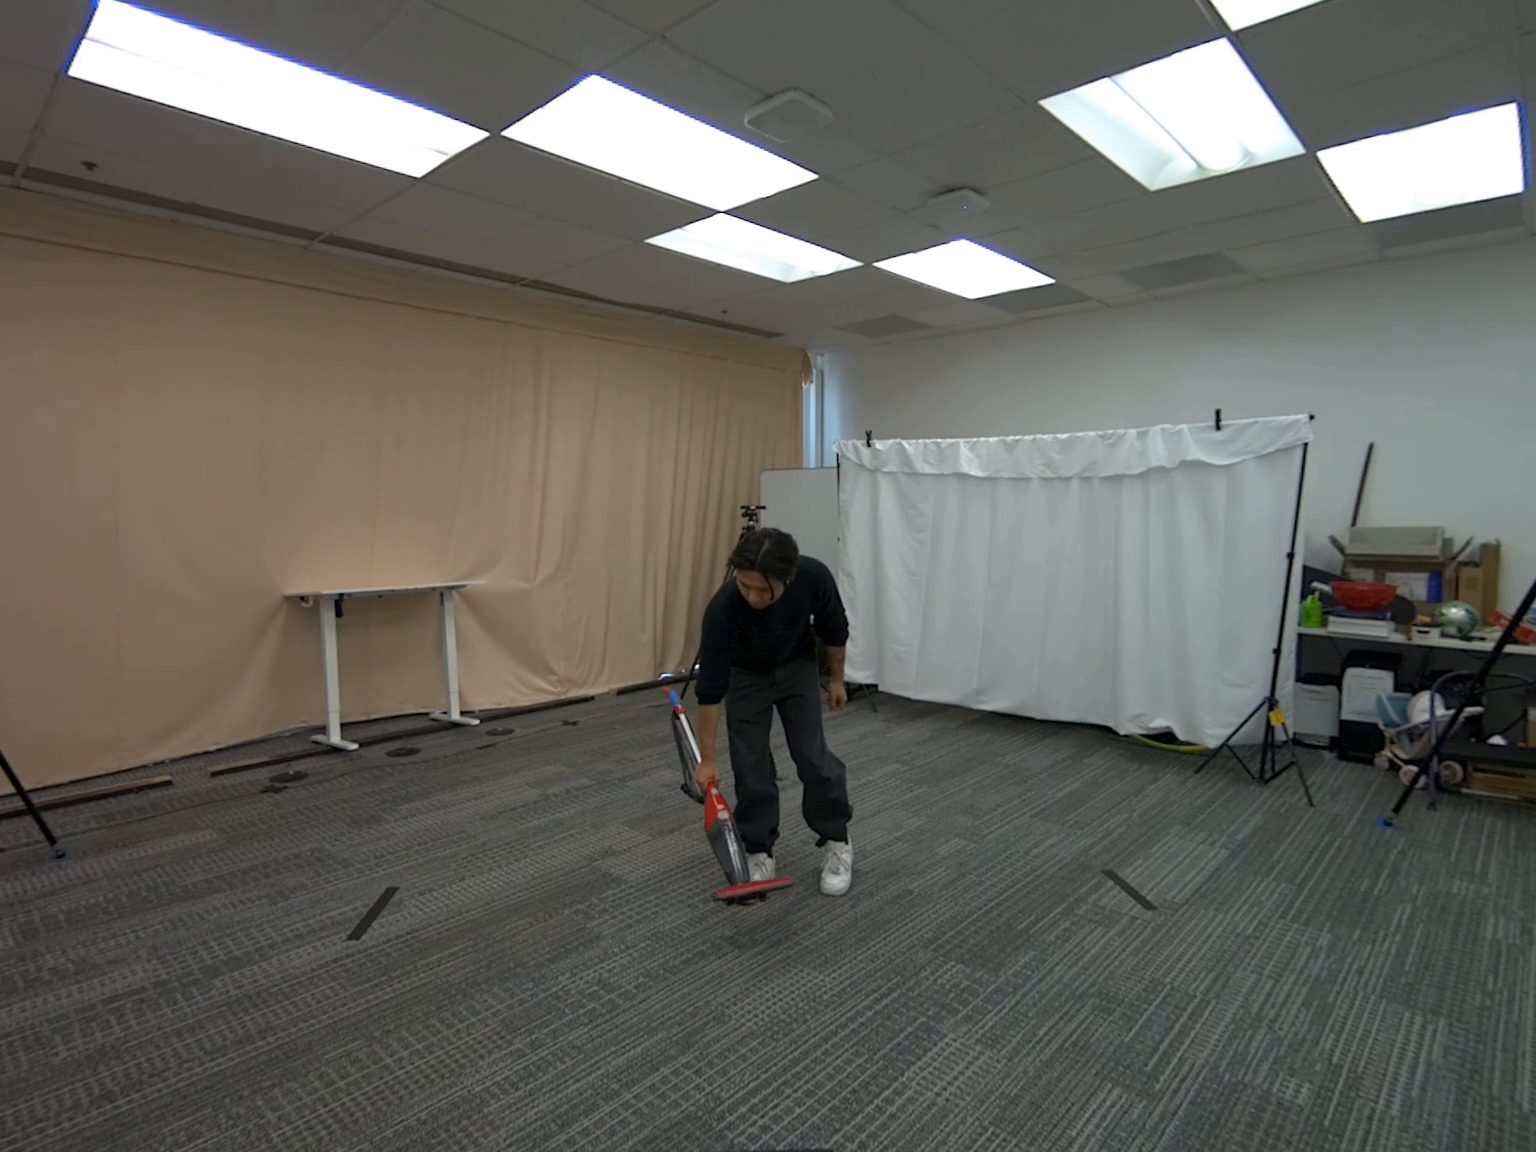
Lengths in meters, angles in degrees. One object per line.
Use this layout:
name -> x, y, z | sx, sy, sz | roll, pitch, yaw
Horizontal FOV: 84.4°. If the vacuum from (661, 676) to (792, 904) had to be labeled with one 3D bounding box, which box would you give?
vacuum -> -0.247, 0.728, 3.032 | 0.248, 0.142, 1.084 | -7, 32, -21
